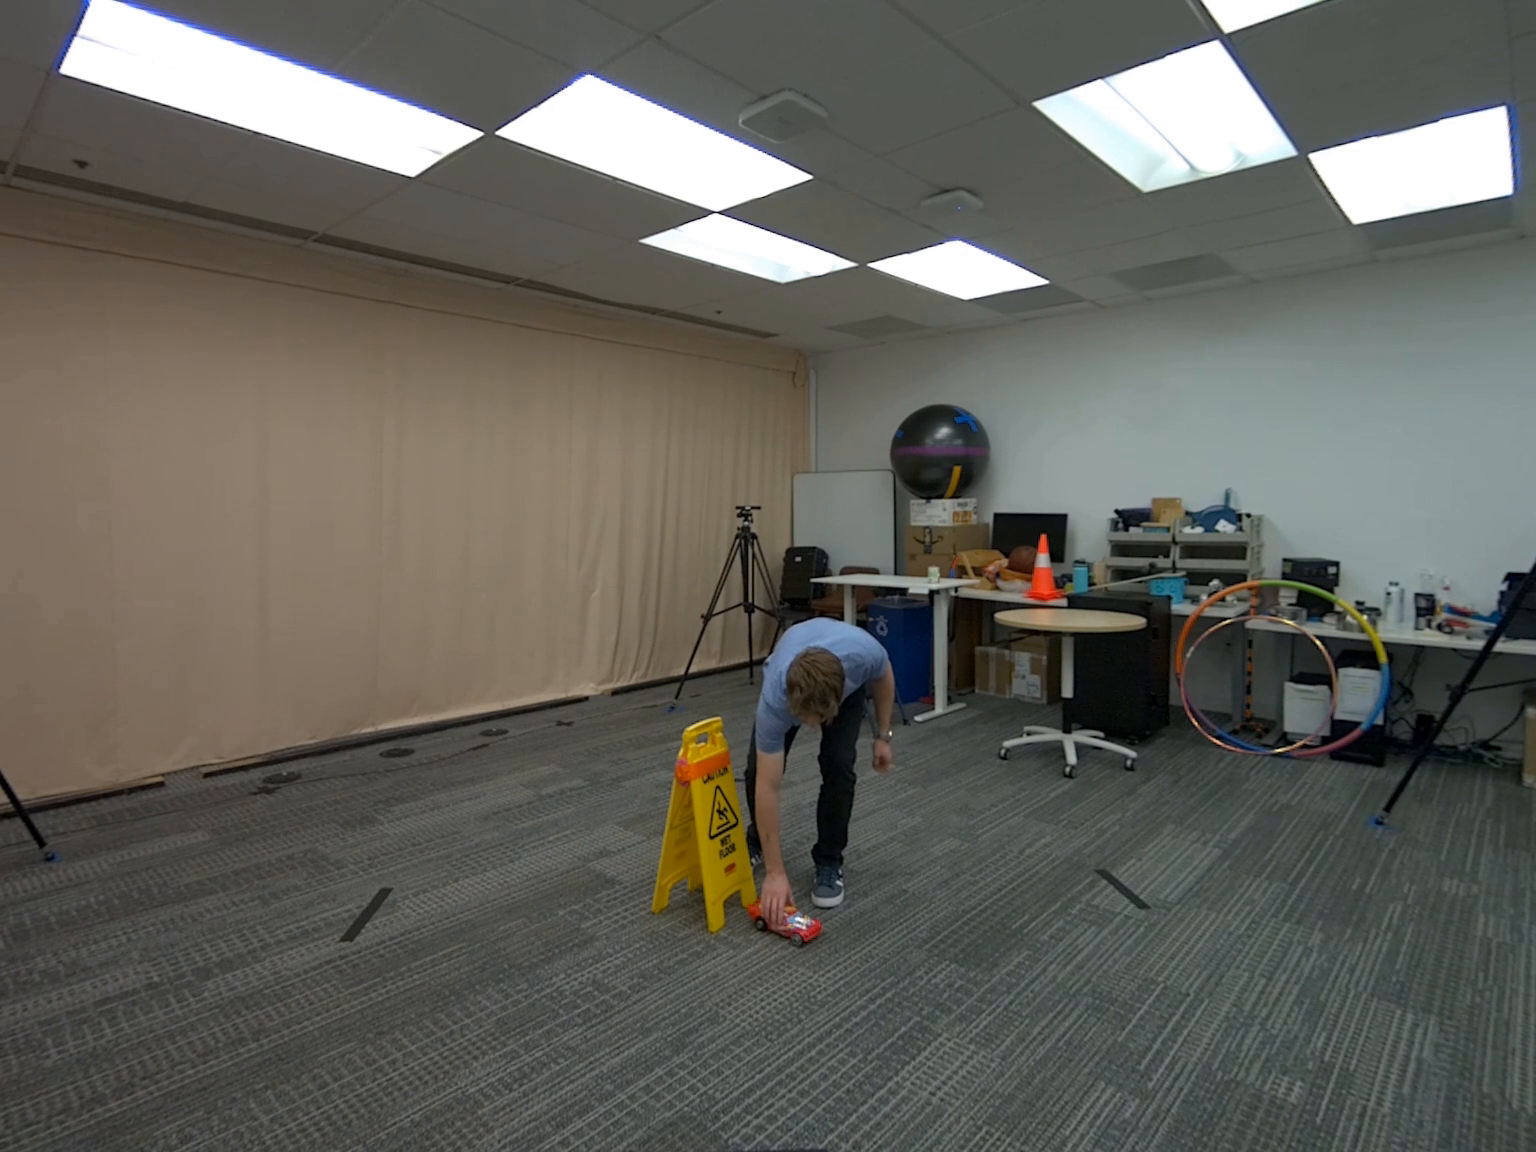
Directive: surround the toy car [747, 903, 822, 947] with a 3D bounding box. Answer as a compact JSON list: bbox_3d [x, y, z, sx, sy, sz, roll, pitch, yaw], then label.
[{"bbox_3d":[0.052,1.142,2.761,0.263,0.083,0.126,12,12,38],"label":"toy car"}]
